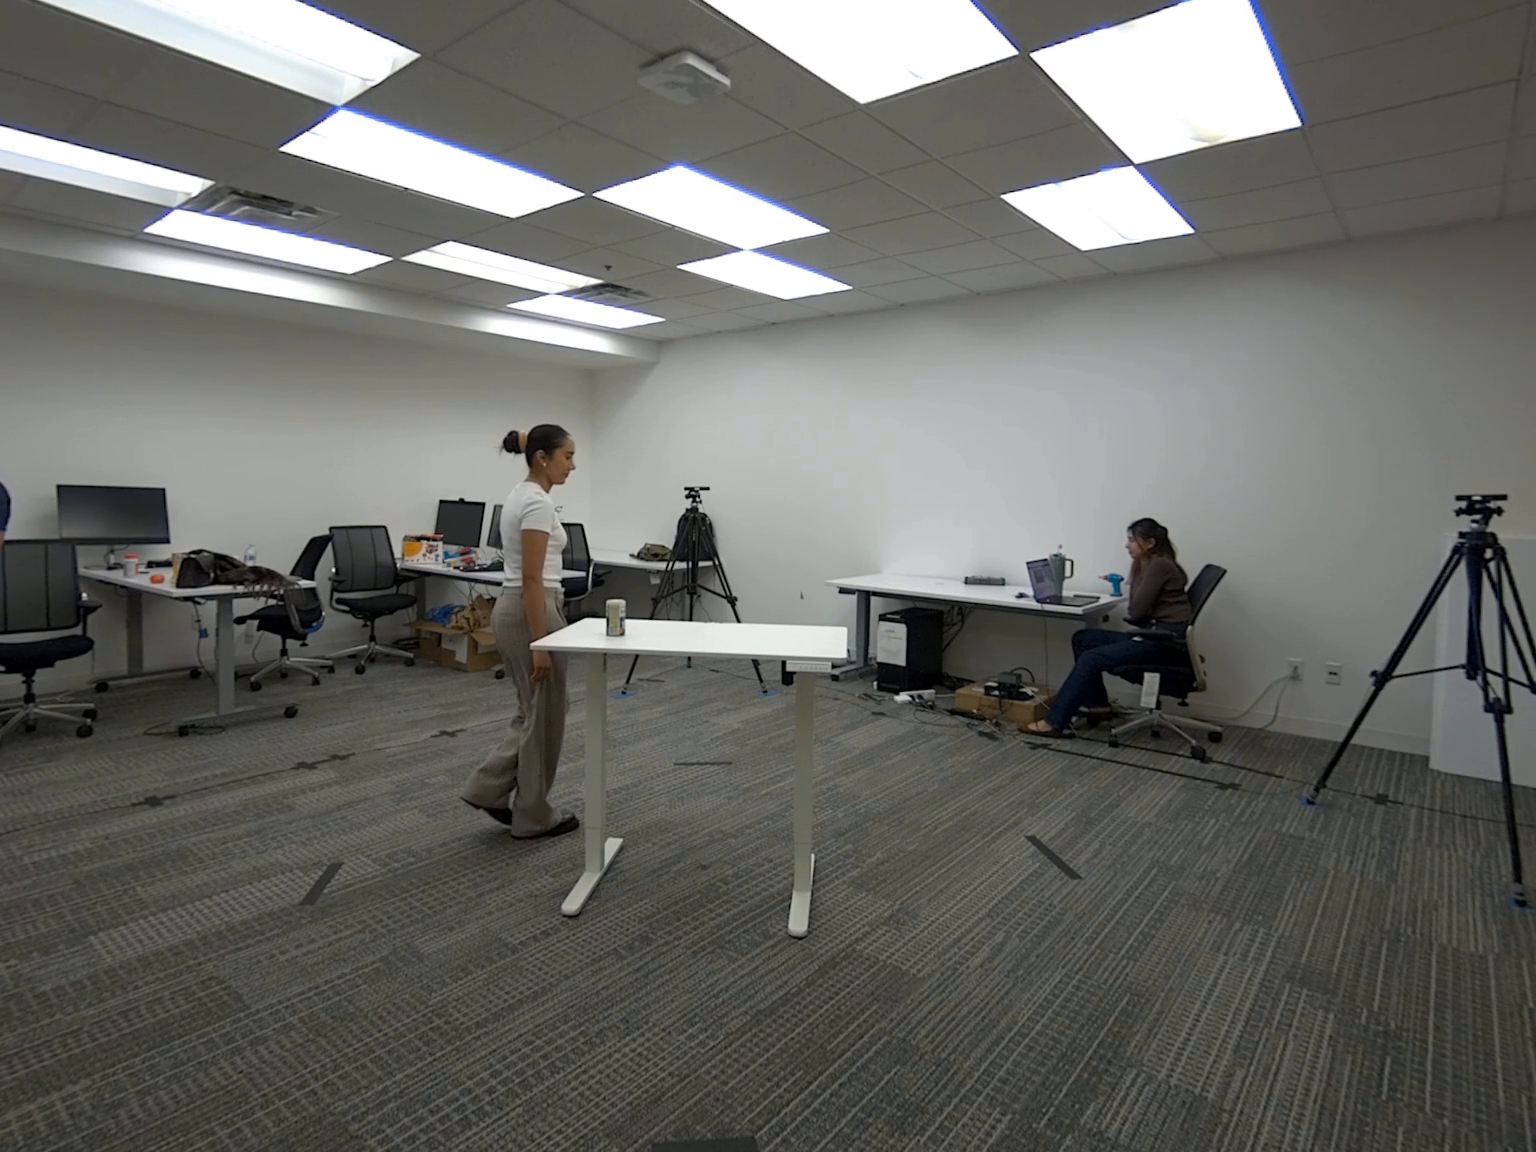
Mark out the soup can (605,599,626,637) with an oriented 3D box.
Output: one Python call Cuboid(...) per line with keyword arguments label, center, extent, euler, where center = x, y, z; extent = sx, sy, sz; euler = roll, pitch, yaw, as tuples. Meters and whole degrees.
Cuboid(label="soup can", center=(-0.530, 0.144, 2.912), extent=(0.067, 0.121, 0.067), euler=(3, 4, -2))
